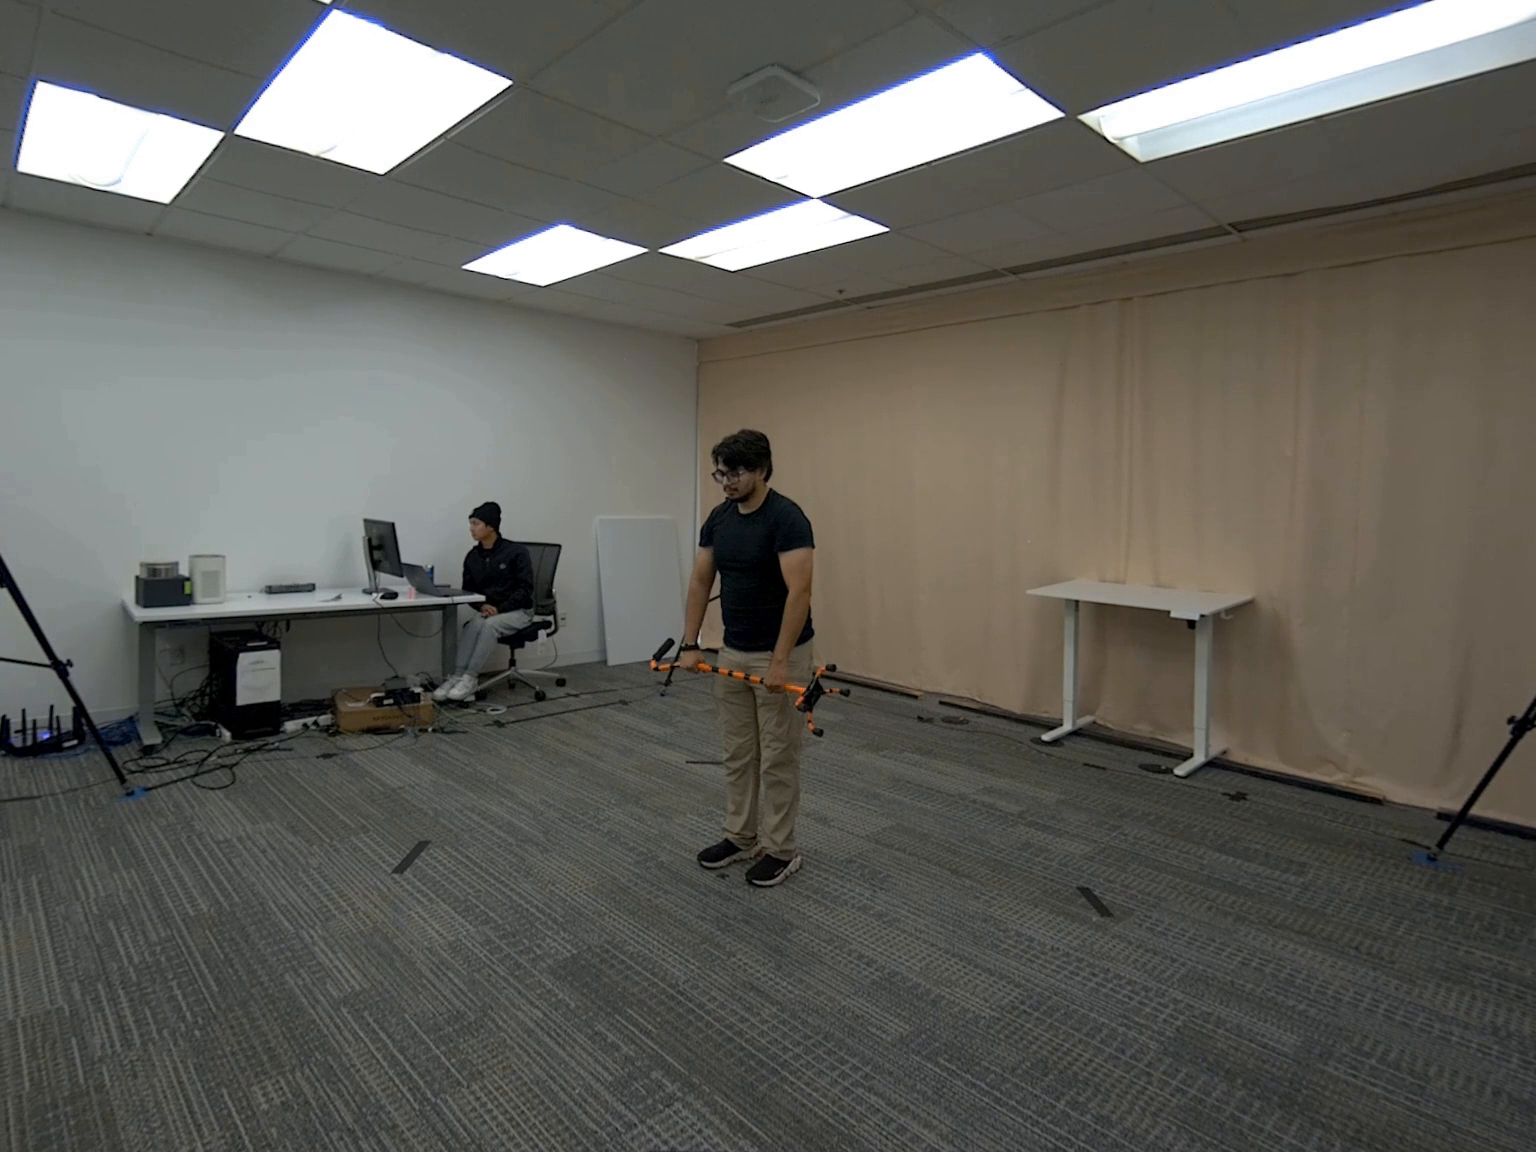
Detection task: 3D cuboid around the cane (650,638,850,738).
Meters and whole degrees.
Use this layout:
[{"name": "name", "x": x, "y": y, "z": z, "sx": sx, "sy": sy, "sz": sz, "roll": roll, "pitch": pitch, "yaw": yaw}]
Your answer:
[{"name": "cane", "x": -0.144, "y": 0.386, "z": 3.090, "sx": 0.931, "sy": 0.148, "sz": 0.206, "roll": 6, "pitch": 43, "yaw": 47}]
